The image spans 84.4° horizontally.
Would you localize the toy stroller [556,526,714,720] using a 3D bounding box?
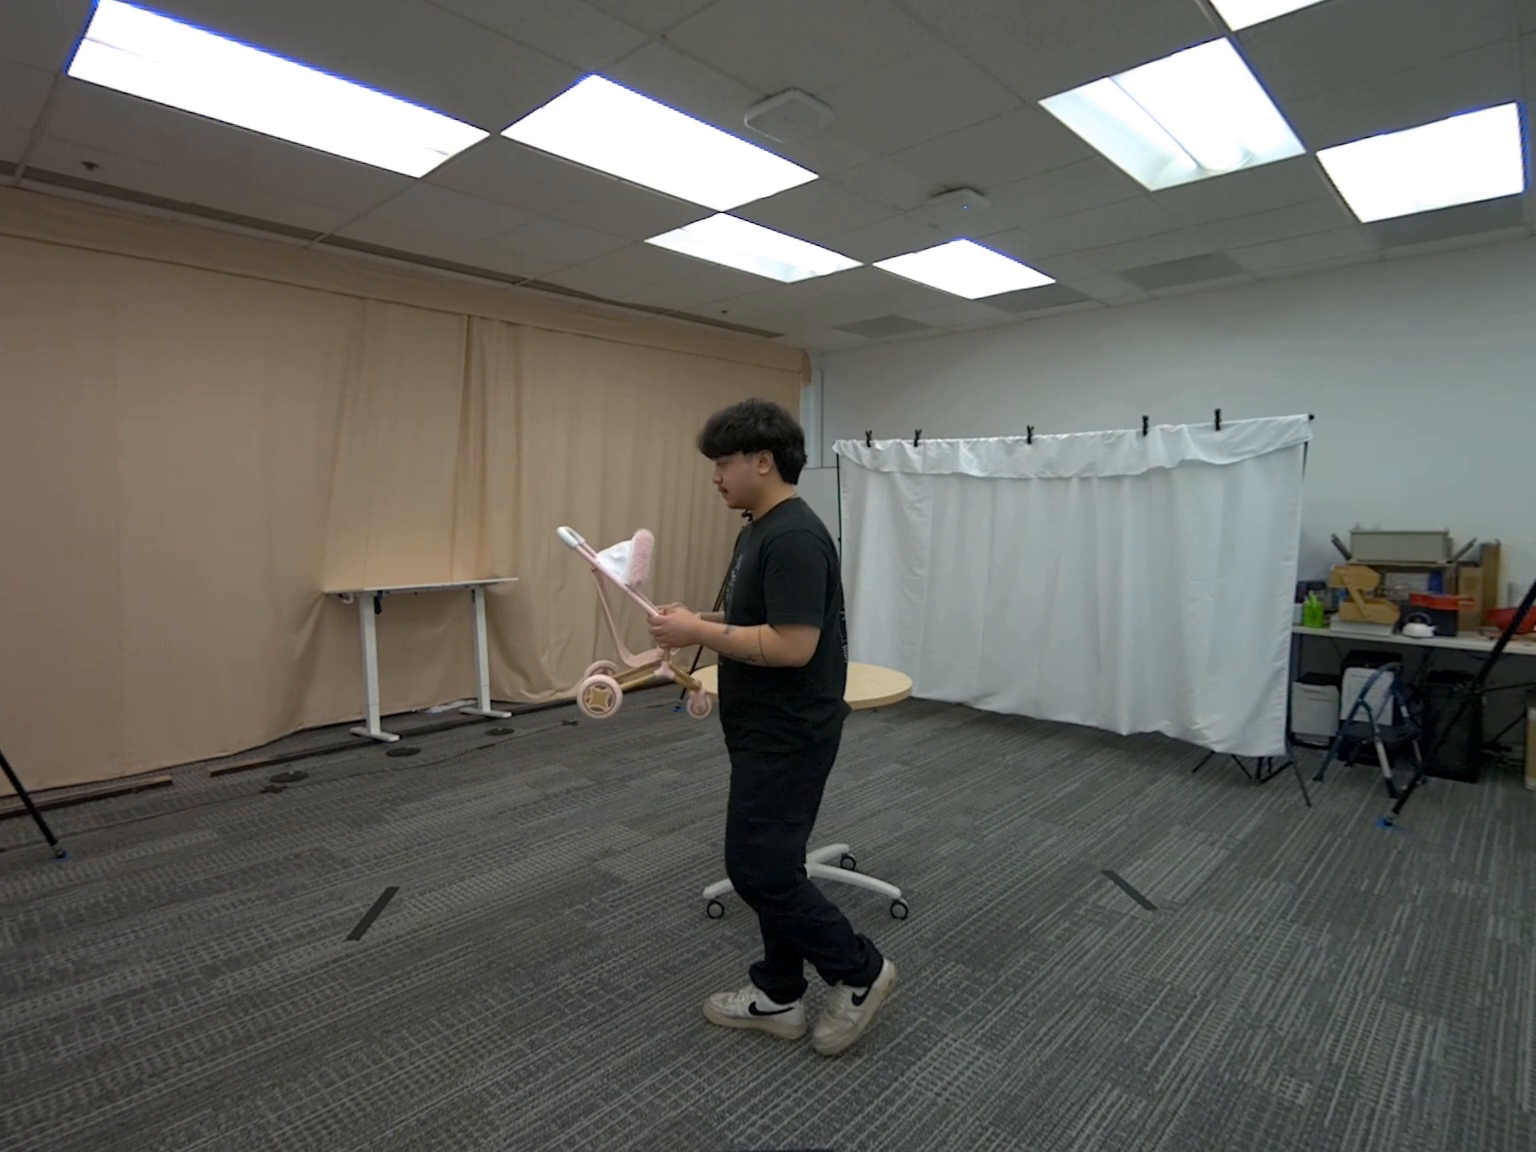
[{"bbox_3d":[-0.334,0.124,2.151,0.341,0.535,0.281,-7,0,-2],"label":"toy stroller"}]
